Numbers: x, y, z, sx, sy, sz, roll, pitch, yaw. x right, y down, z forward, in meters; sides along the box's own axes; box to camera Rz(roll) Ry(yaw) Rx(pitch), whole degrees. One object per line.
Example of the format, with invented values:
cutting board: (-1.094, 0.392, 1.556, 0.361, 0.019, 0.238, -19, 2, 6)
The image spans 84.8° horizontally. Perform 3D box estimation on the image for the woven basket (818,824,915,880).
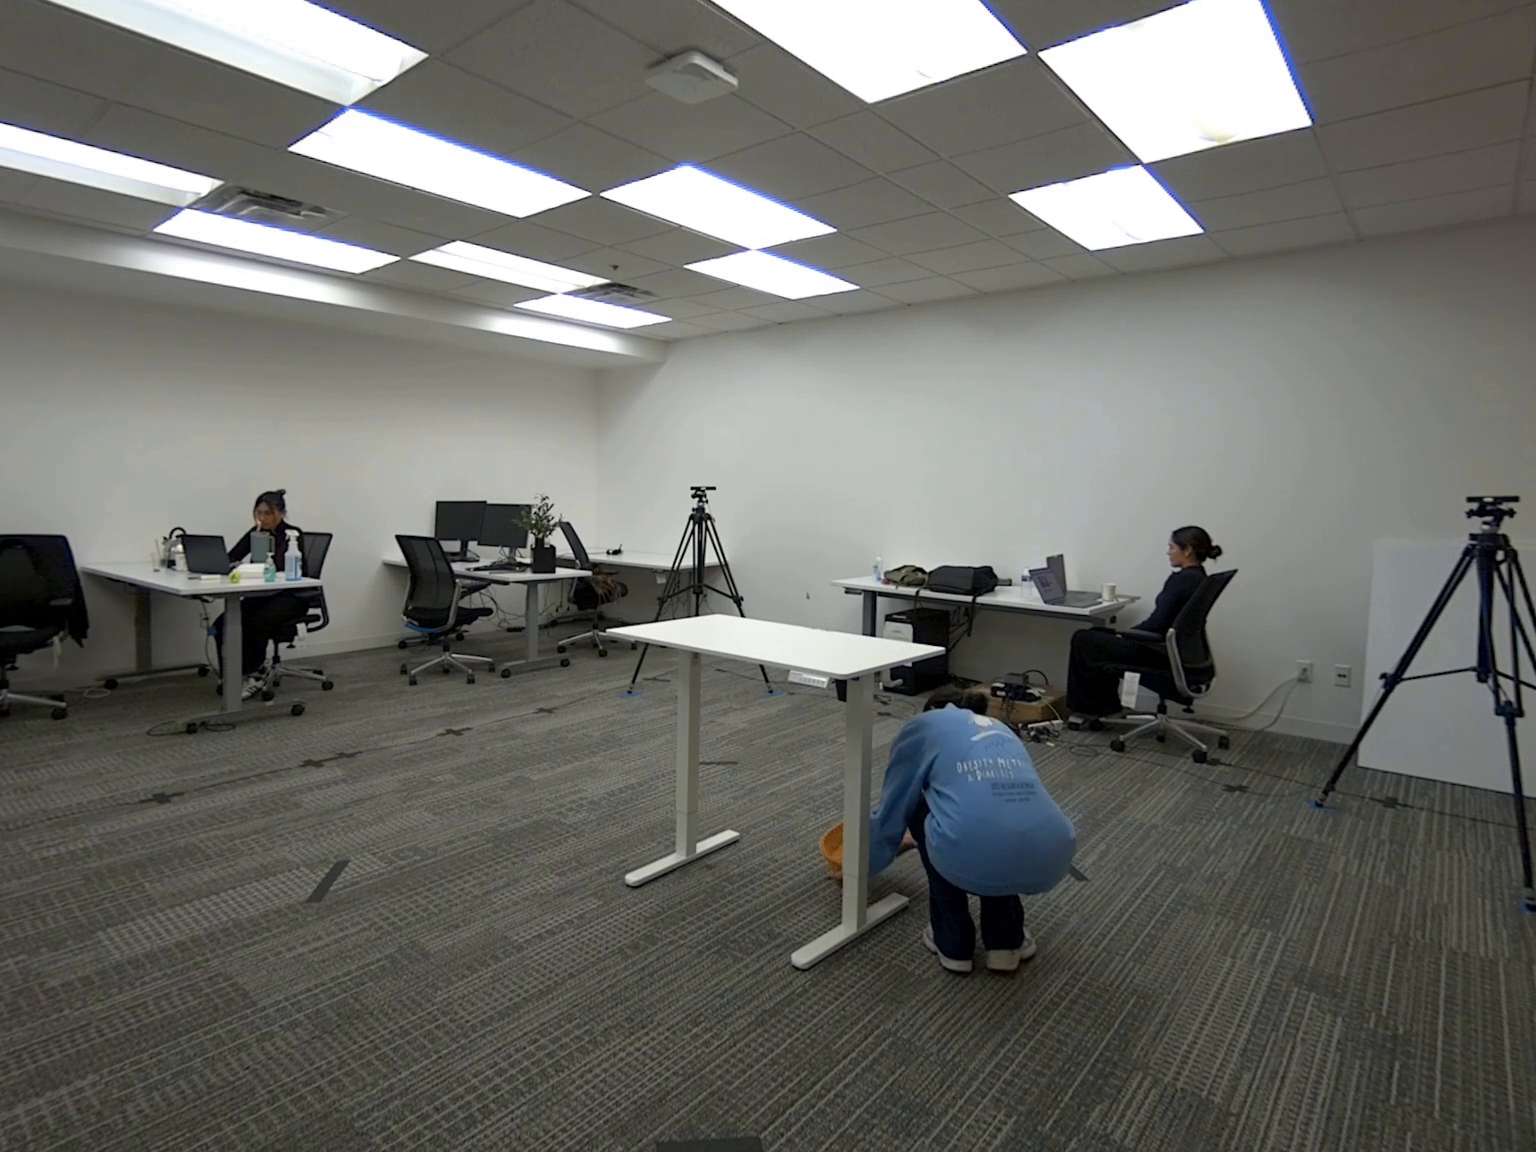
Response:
woven basket: (0.340, 0.957, 2.974, 0.341, 0.072, 0.262, -13, 18, -42)
